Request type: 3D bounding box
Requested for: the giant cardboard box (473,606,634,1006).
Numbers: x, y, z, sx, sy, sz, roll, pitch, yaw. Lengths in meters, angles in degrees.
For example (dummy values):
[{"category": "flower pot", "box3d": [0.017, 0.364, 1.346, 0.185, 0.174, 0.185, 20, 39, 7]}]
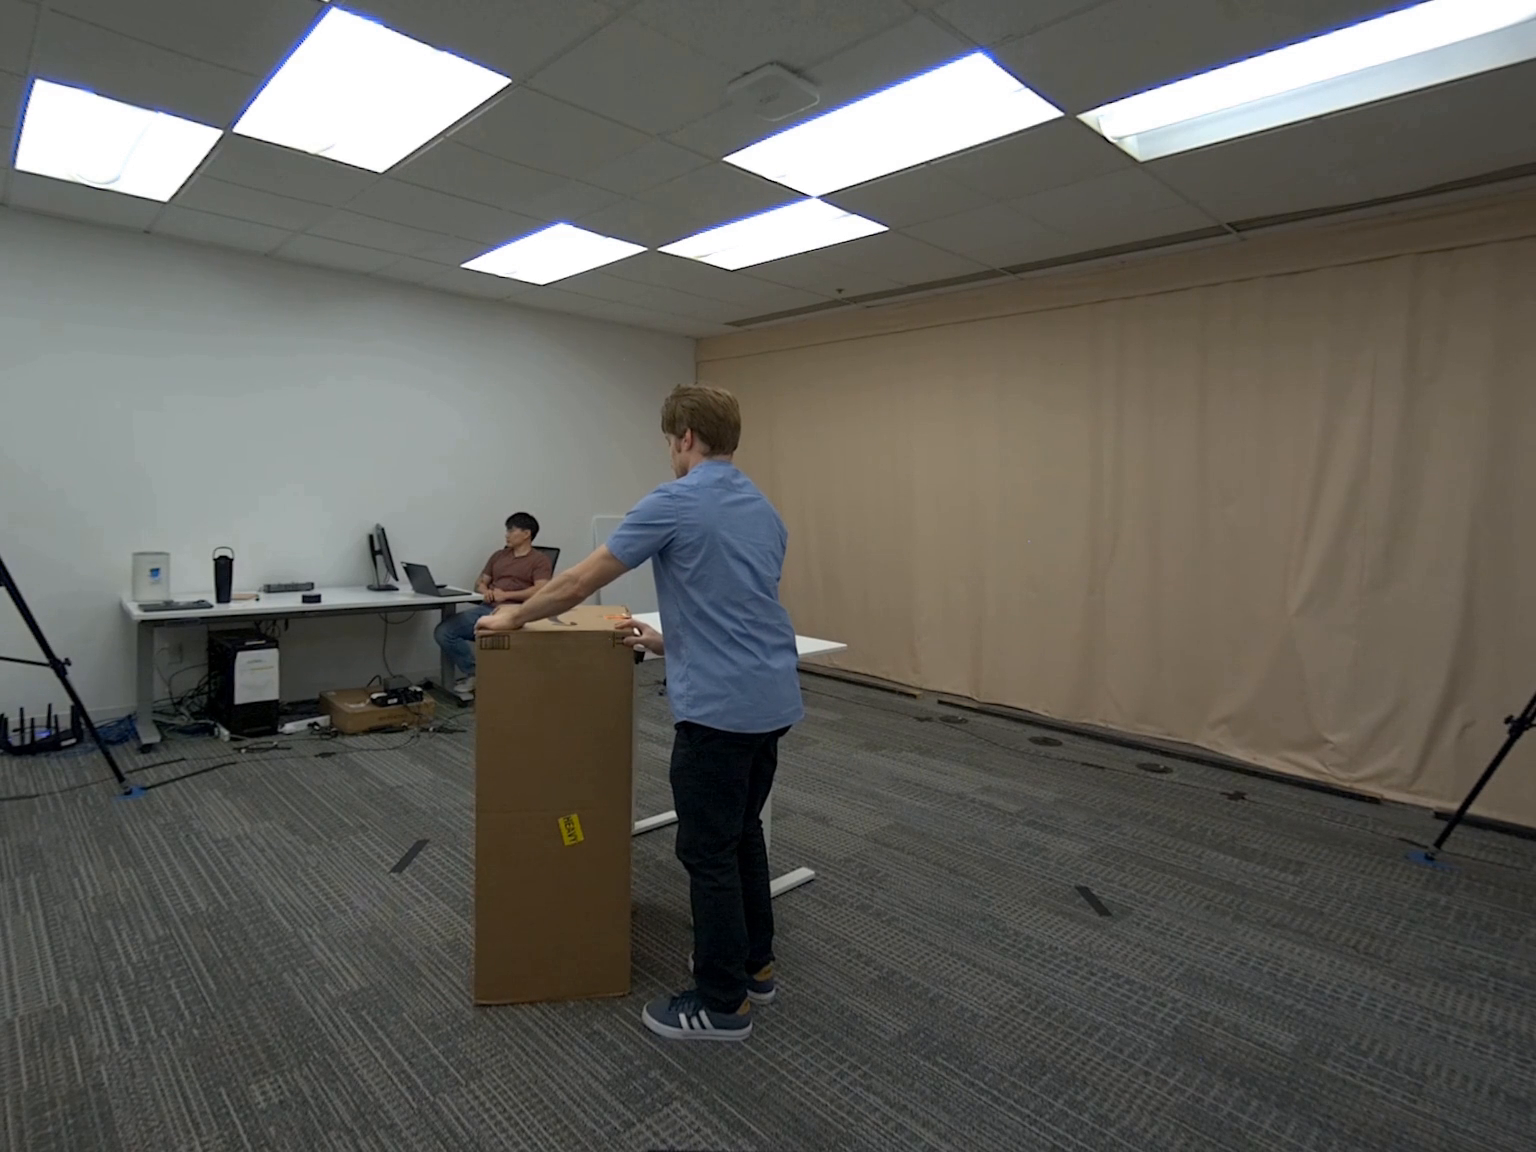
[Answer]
[{"category": "giant cardboard box", "box3d": [-0.646, 0.631, 2.559, 0.422, 1.024, 0.583, 1, 2, -12]}]
